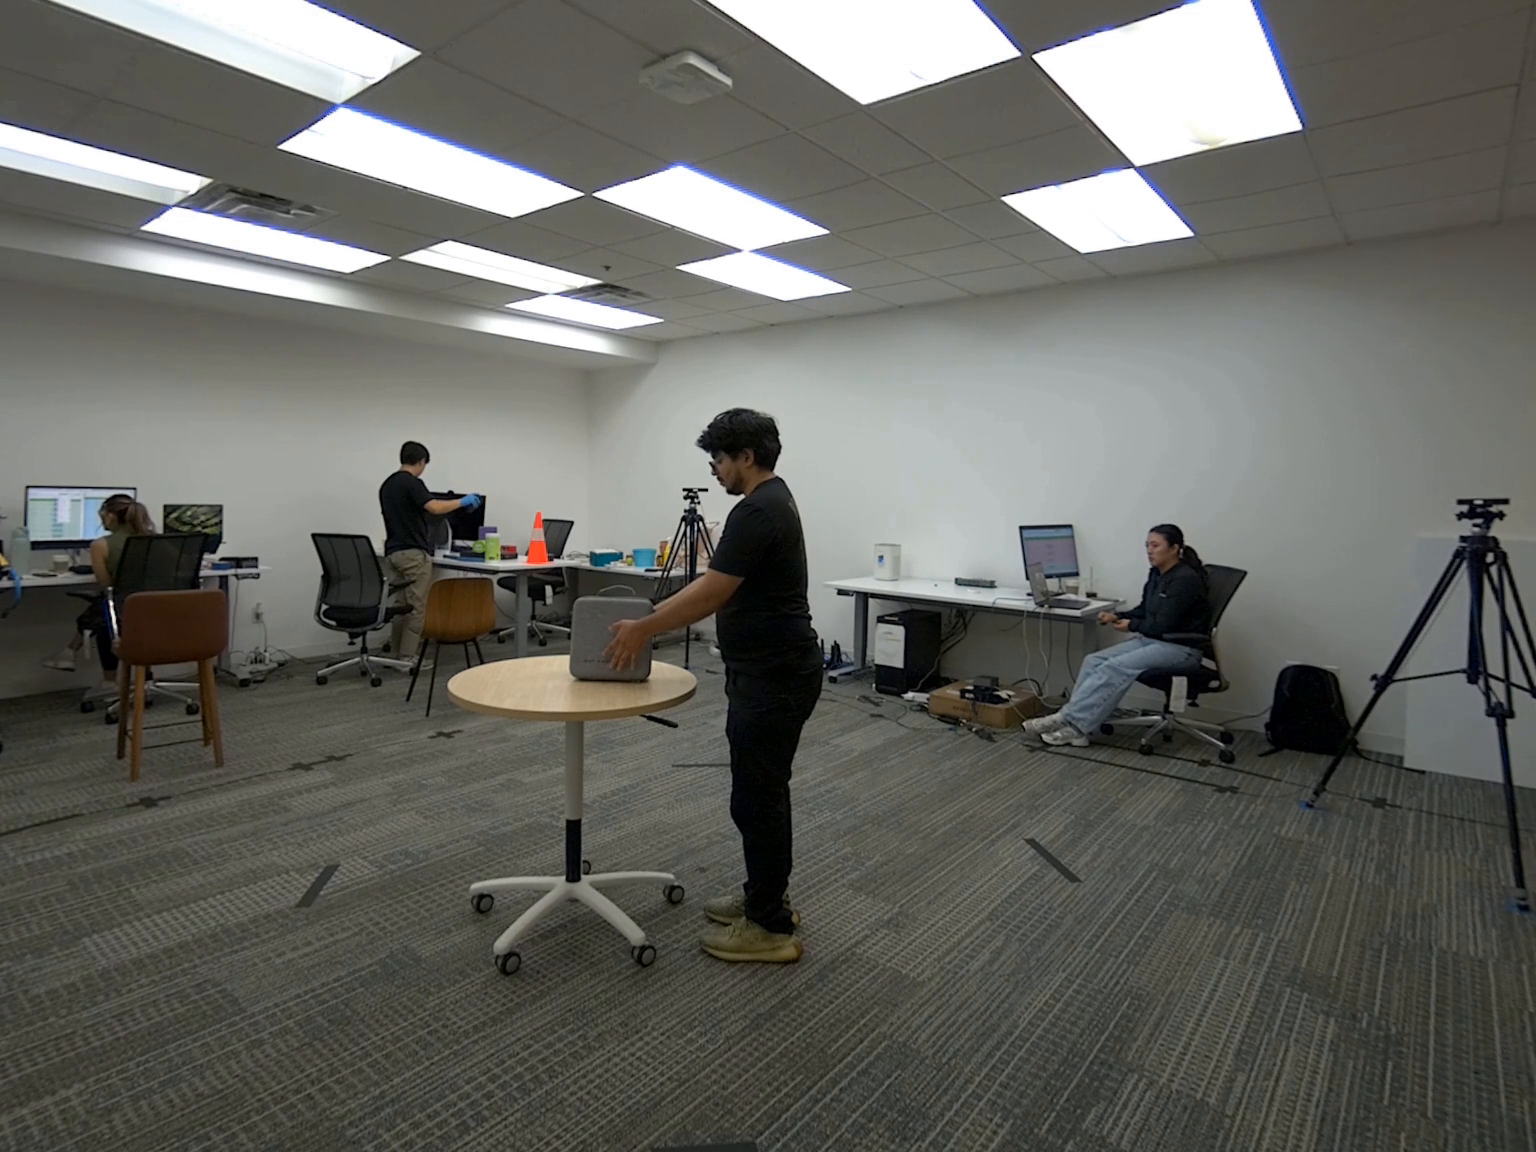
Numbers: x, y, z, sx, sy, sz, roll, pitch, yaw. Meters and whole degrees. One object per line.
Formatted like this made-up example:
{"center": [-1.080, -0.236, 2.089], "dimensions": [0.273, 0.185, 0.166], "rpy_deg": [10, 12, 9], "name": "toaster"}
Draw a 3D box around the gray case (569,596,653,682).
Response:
{"center": [-0.510, 0.187, 2.700], "dimensions": [0.259, 0.262, 0.103], "rpy_deg": [1, -7, 6], "name": "gray case"}
